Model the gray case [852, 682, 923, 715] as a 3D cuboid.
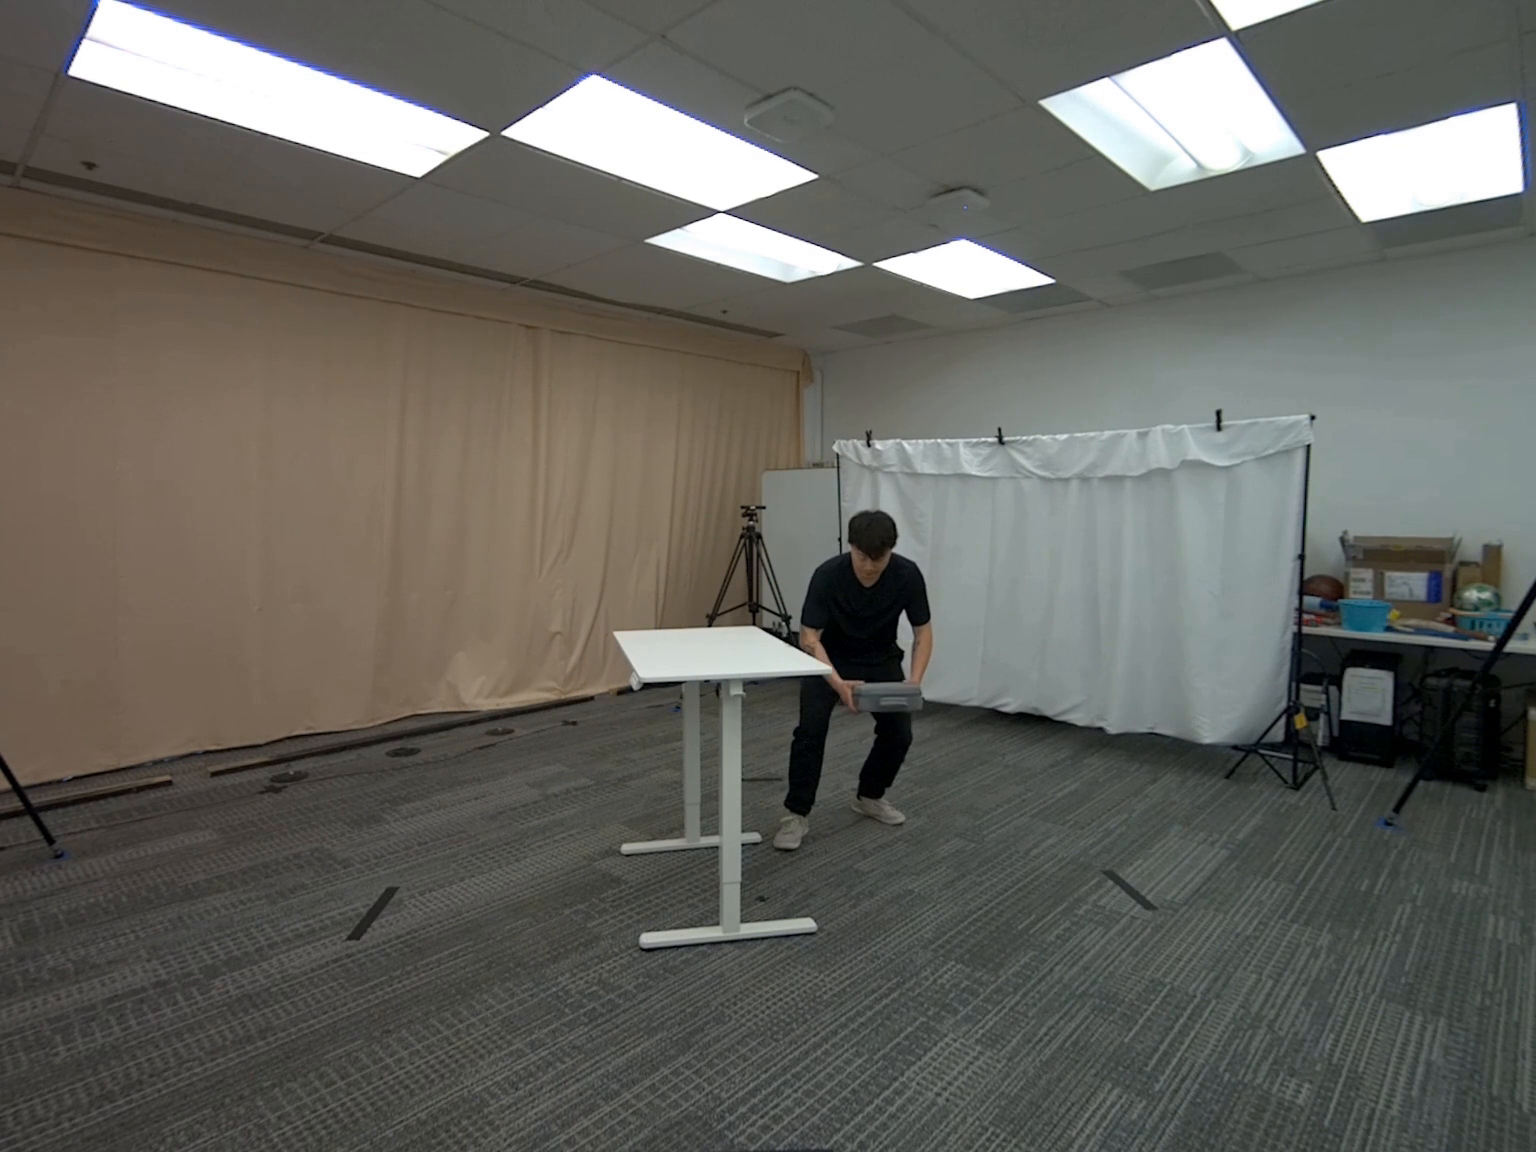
[{"bbox_3d":[0.475,0.479,3.343,0.258,0.105,0.259,0,-5,2],"label":"gray case"}]
